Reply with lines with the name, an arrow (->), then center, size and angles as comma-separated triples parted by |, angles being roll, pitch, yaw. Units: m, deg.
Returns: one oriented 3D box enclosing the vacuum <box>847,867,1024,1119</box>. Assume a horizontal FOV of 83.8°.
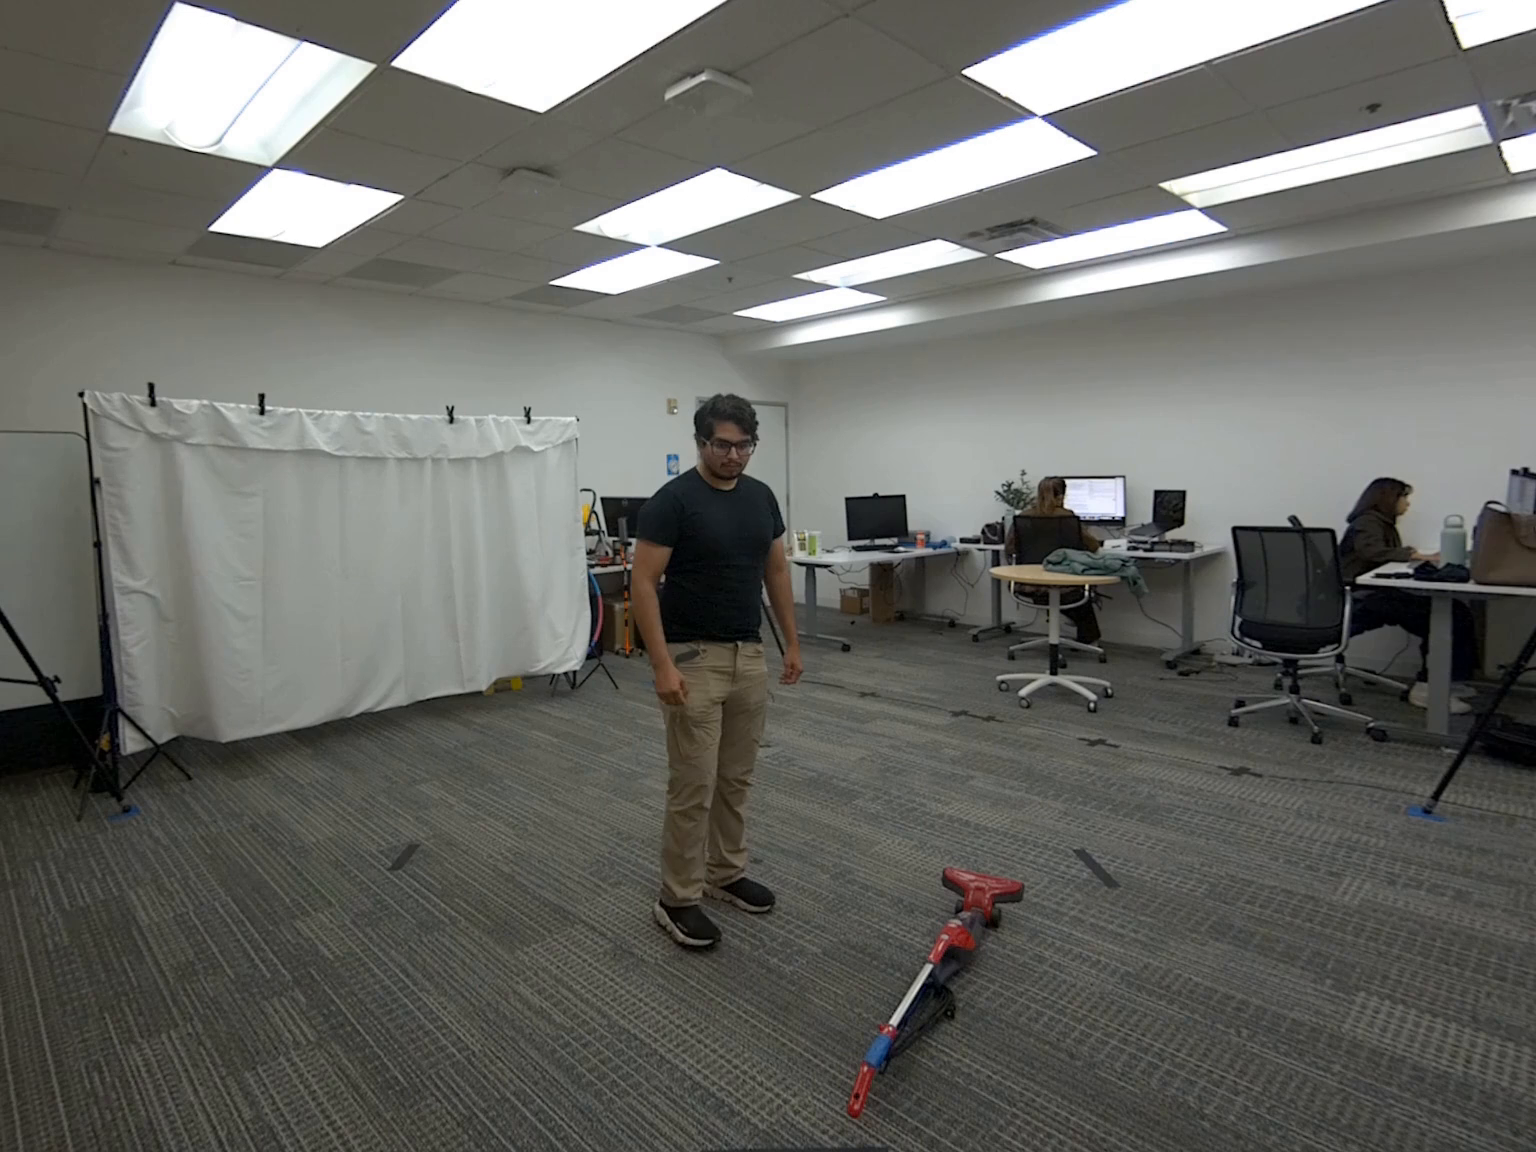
vacuum -> 0.428, 1.071, 2.230 | 0.258, 0.143, 1.028 | -2, 5, 28
